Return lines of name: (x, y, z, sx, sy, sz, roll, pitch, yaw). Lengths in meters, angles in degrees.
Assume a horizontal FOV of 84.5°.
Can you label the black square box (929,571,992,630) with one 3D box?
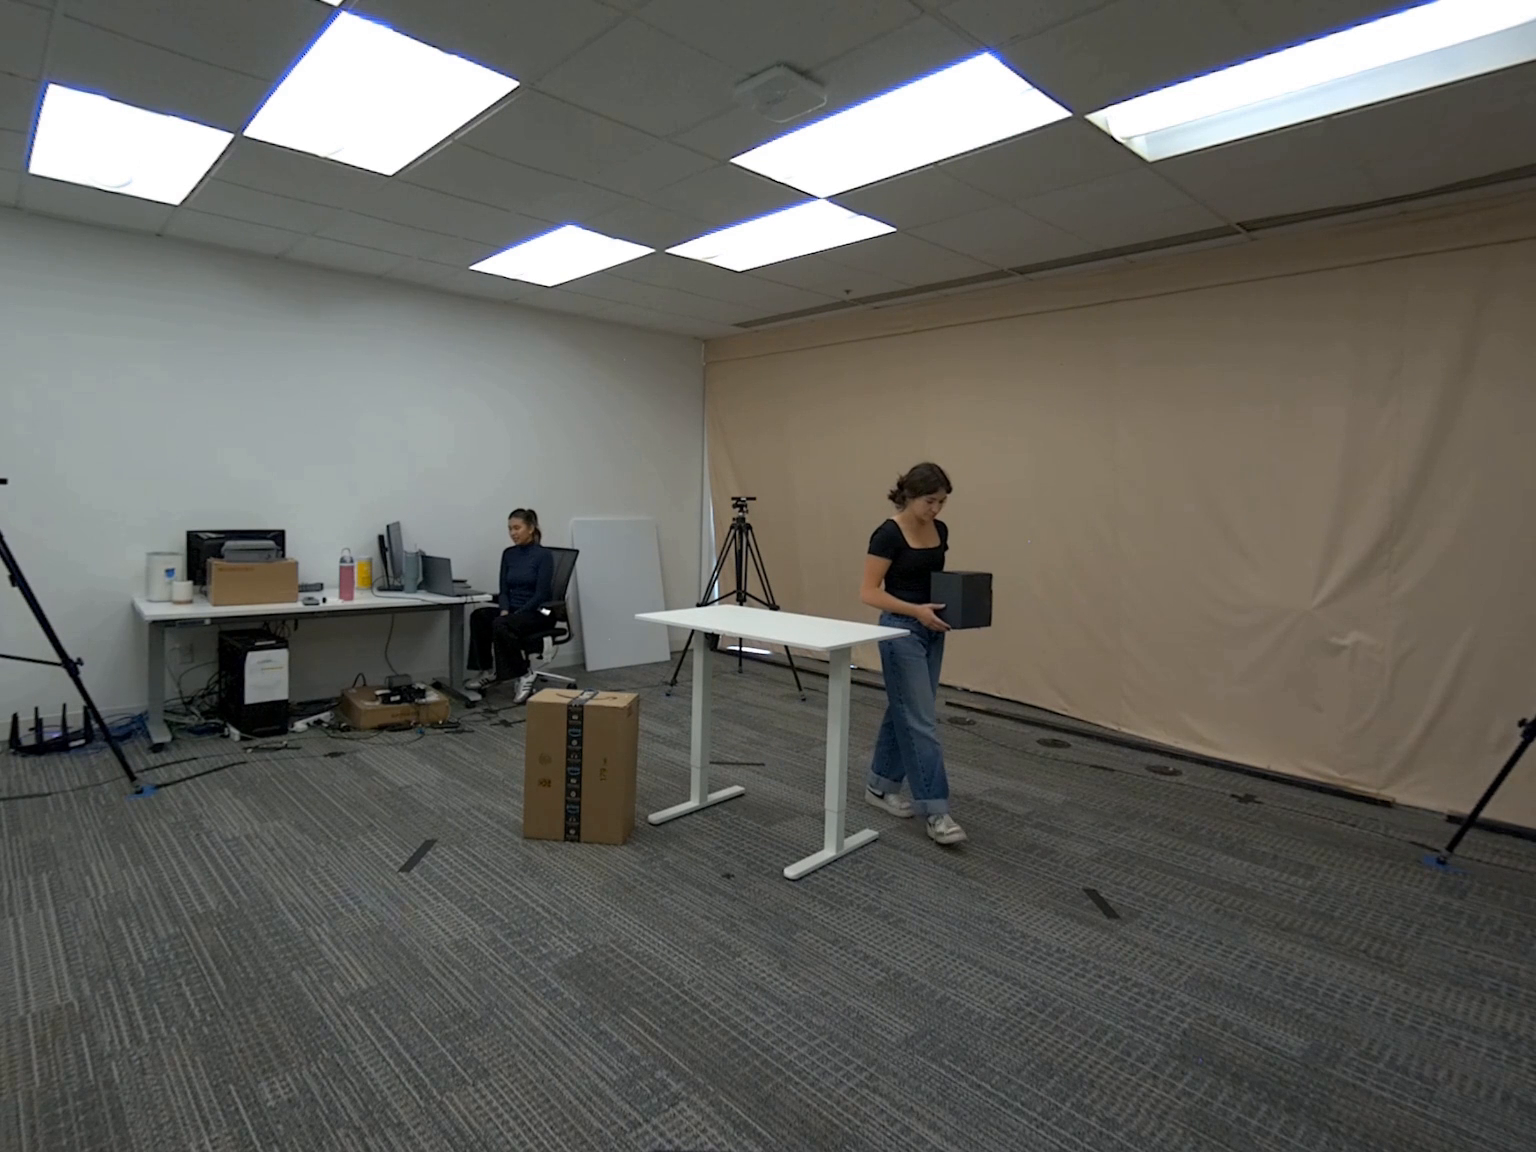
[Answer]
black square box: (0.791, 0.093, 3.506, 0.212, 0.227, 0.160, 0, 3, -43)
